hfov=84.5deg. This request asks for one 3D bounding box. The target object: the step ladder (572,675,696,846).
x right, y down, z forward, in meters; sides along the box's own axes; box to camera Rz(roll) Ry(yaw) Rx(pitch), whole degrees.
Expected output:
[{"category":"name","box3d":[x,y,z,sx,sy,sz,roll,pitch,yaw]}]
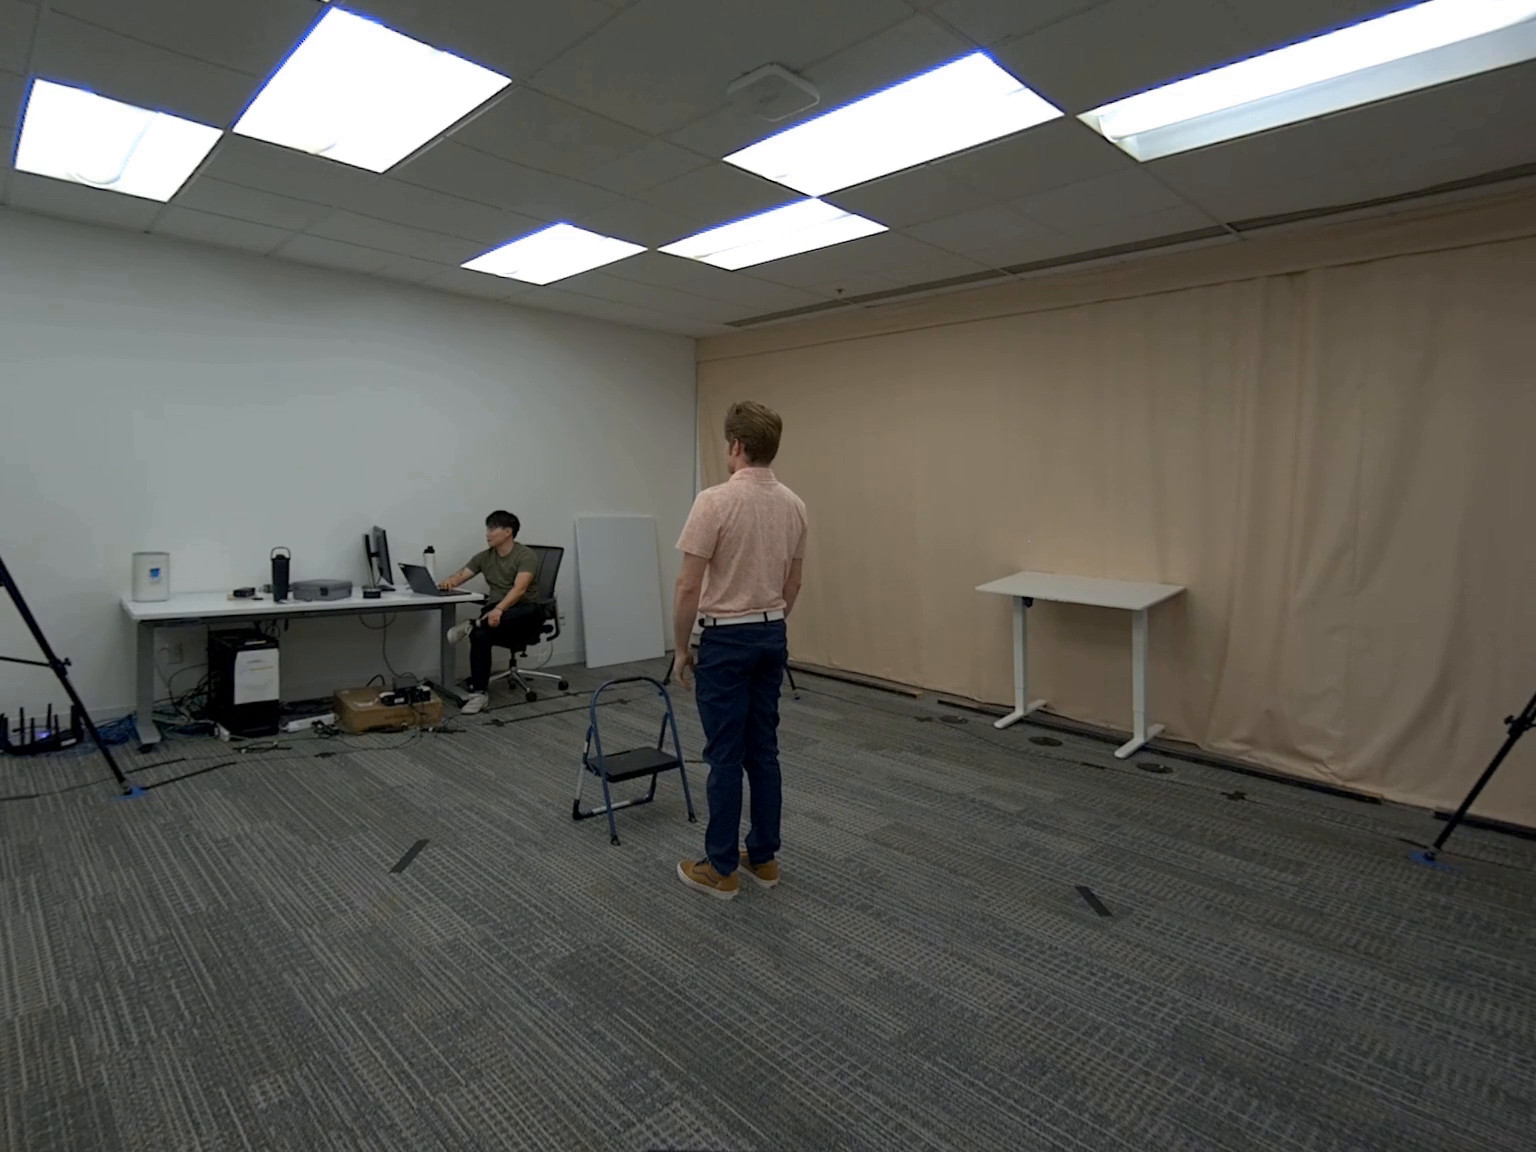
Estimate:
[{"category":"step ladder","box3d":[-0.573,0.748,3.594,0.420,0.605,0.358,-1,4,-43]}]
